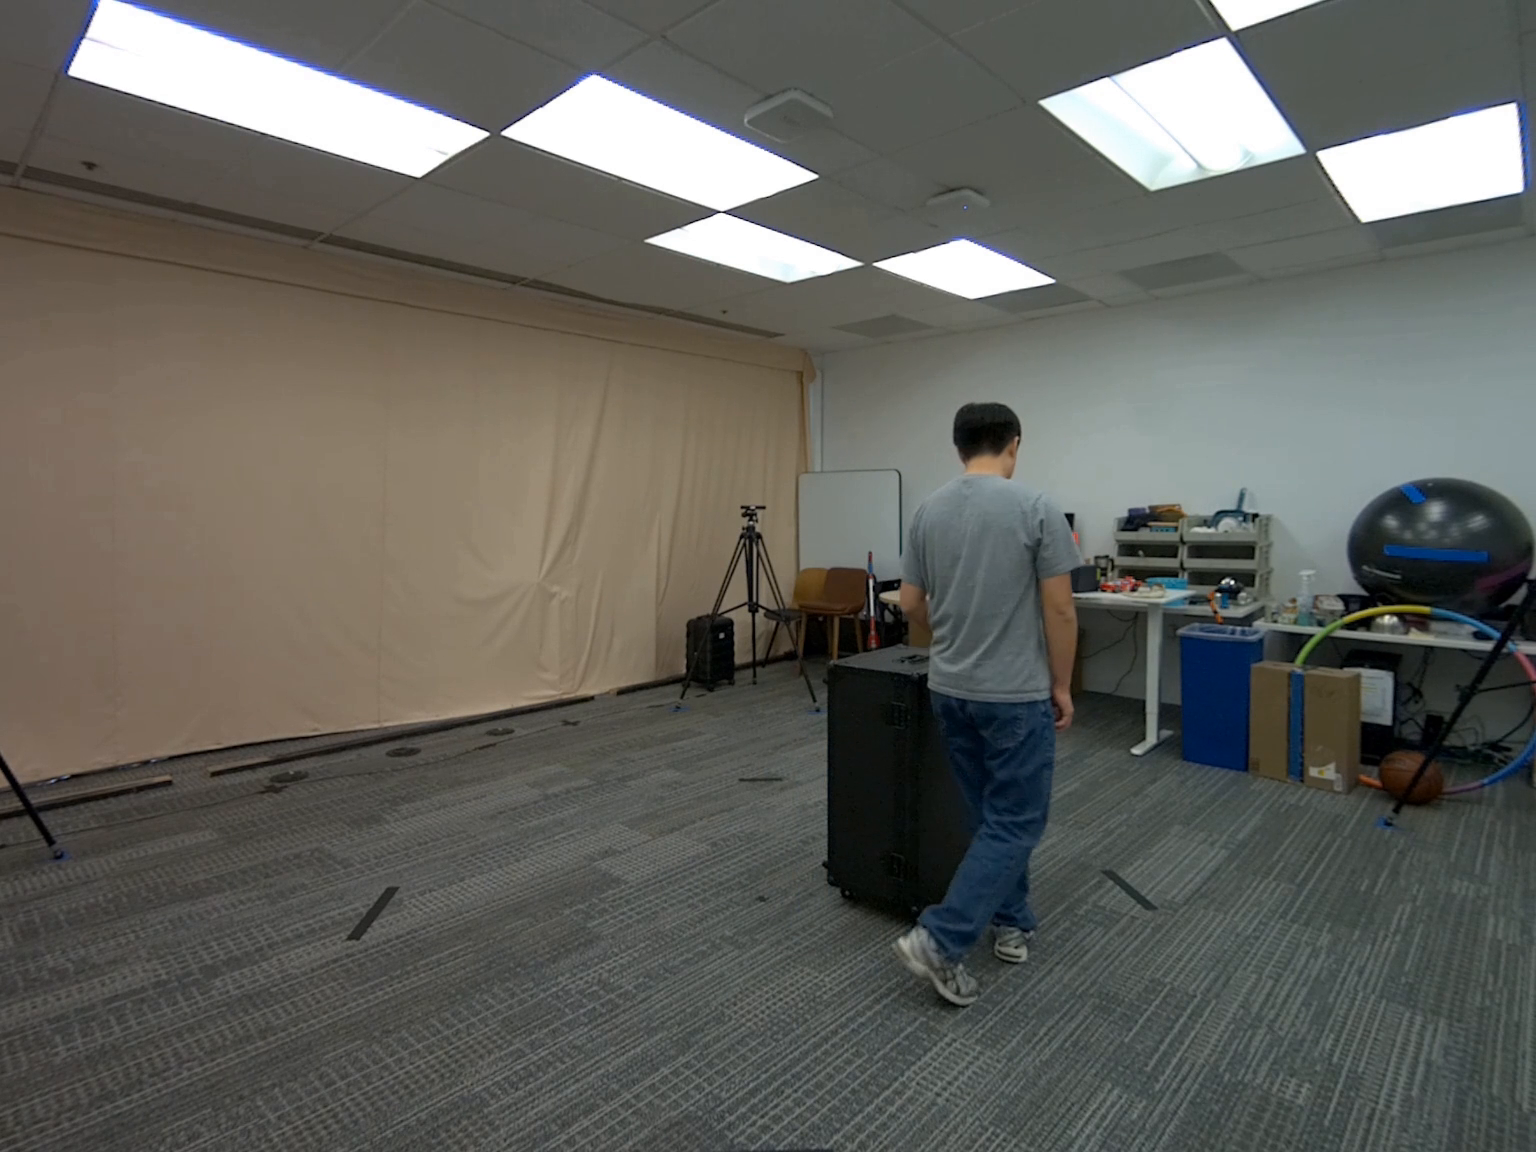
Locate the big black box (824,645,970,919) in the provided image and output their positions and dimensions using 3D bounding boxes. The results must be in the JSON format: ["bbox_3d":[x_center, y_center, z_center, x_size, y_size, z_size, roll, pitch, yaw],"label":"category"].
[{"bbox_3d":[0.484,0.719,2.986,0.409,0.860,0.505,2,4,40],"label":"big black box"}]
